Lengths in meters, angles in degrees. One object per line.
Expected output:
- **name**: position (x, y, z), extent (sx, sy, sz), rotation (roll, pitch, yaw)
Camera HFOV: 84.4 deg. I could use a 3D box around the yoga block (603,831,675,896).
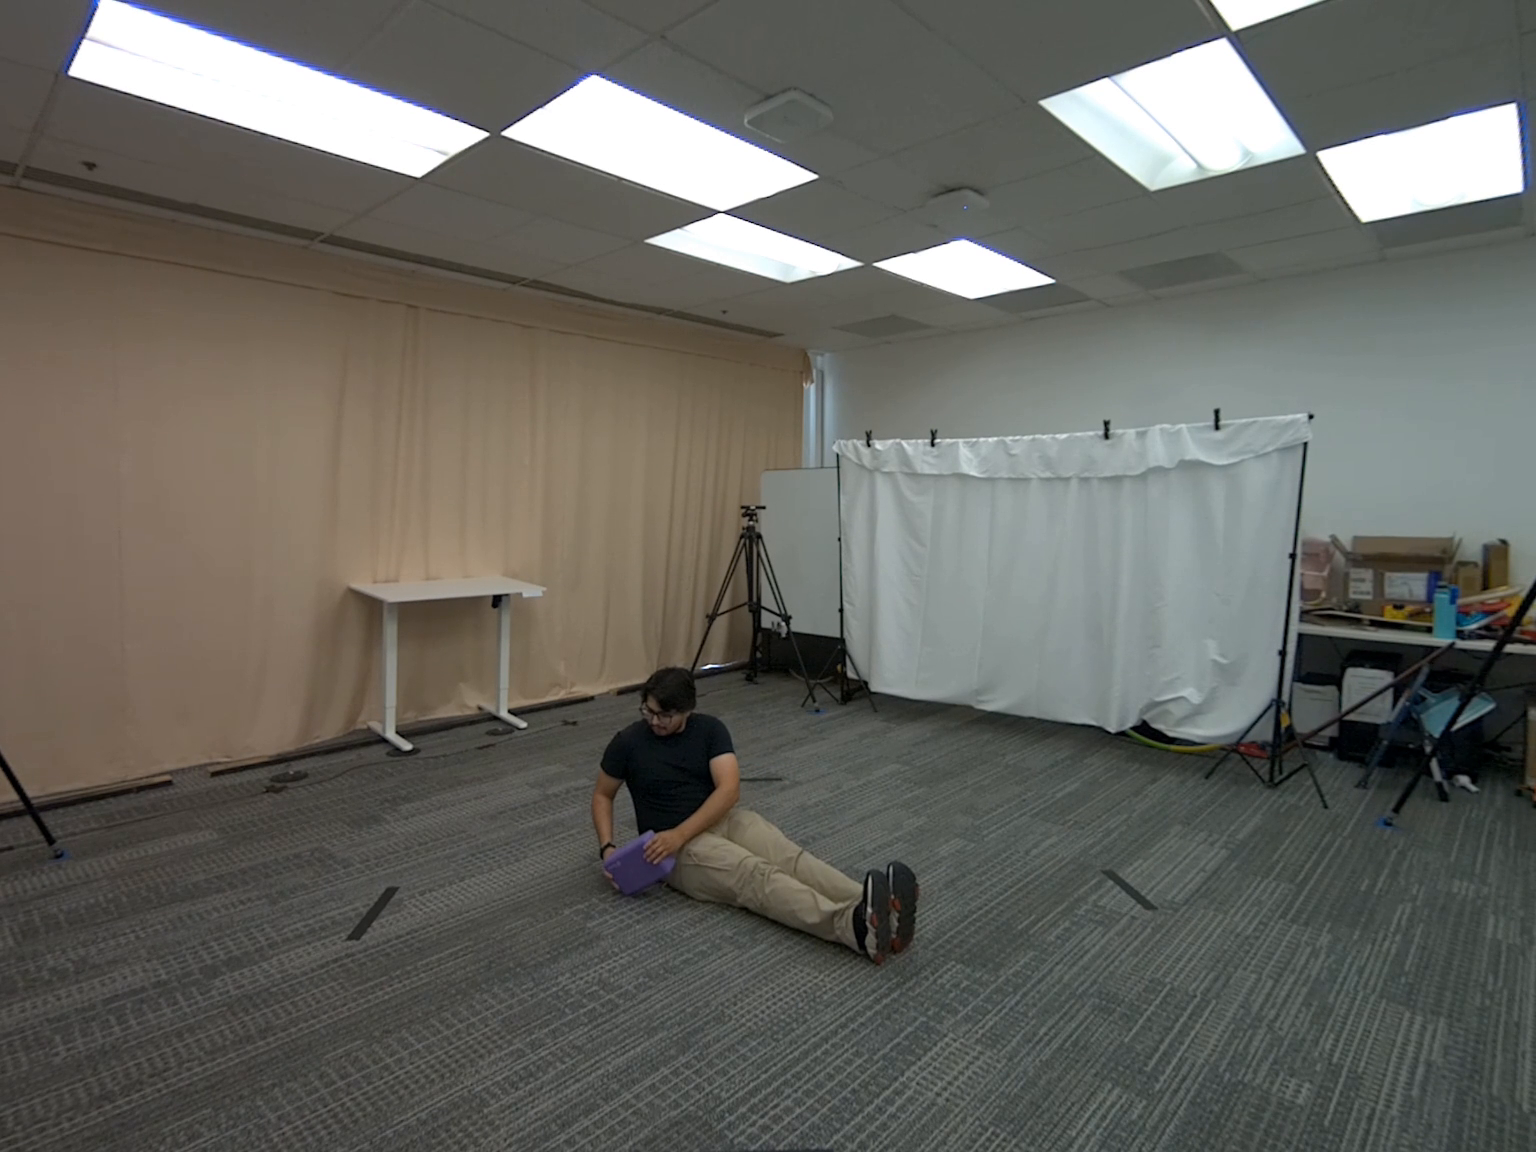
- **yoga block**: position (-0.454, 1.011, 2.989), extent (0.231, 0.149, 0.076), rotation (-37, 0, 19)
